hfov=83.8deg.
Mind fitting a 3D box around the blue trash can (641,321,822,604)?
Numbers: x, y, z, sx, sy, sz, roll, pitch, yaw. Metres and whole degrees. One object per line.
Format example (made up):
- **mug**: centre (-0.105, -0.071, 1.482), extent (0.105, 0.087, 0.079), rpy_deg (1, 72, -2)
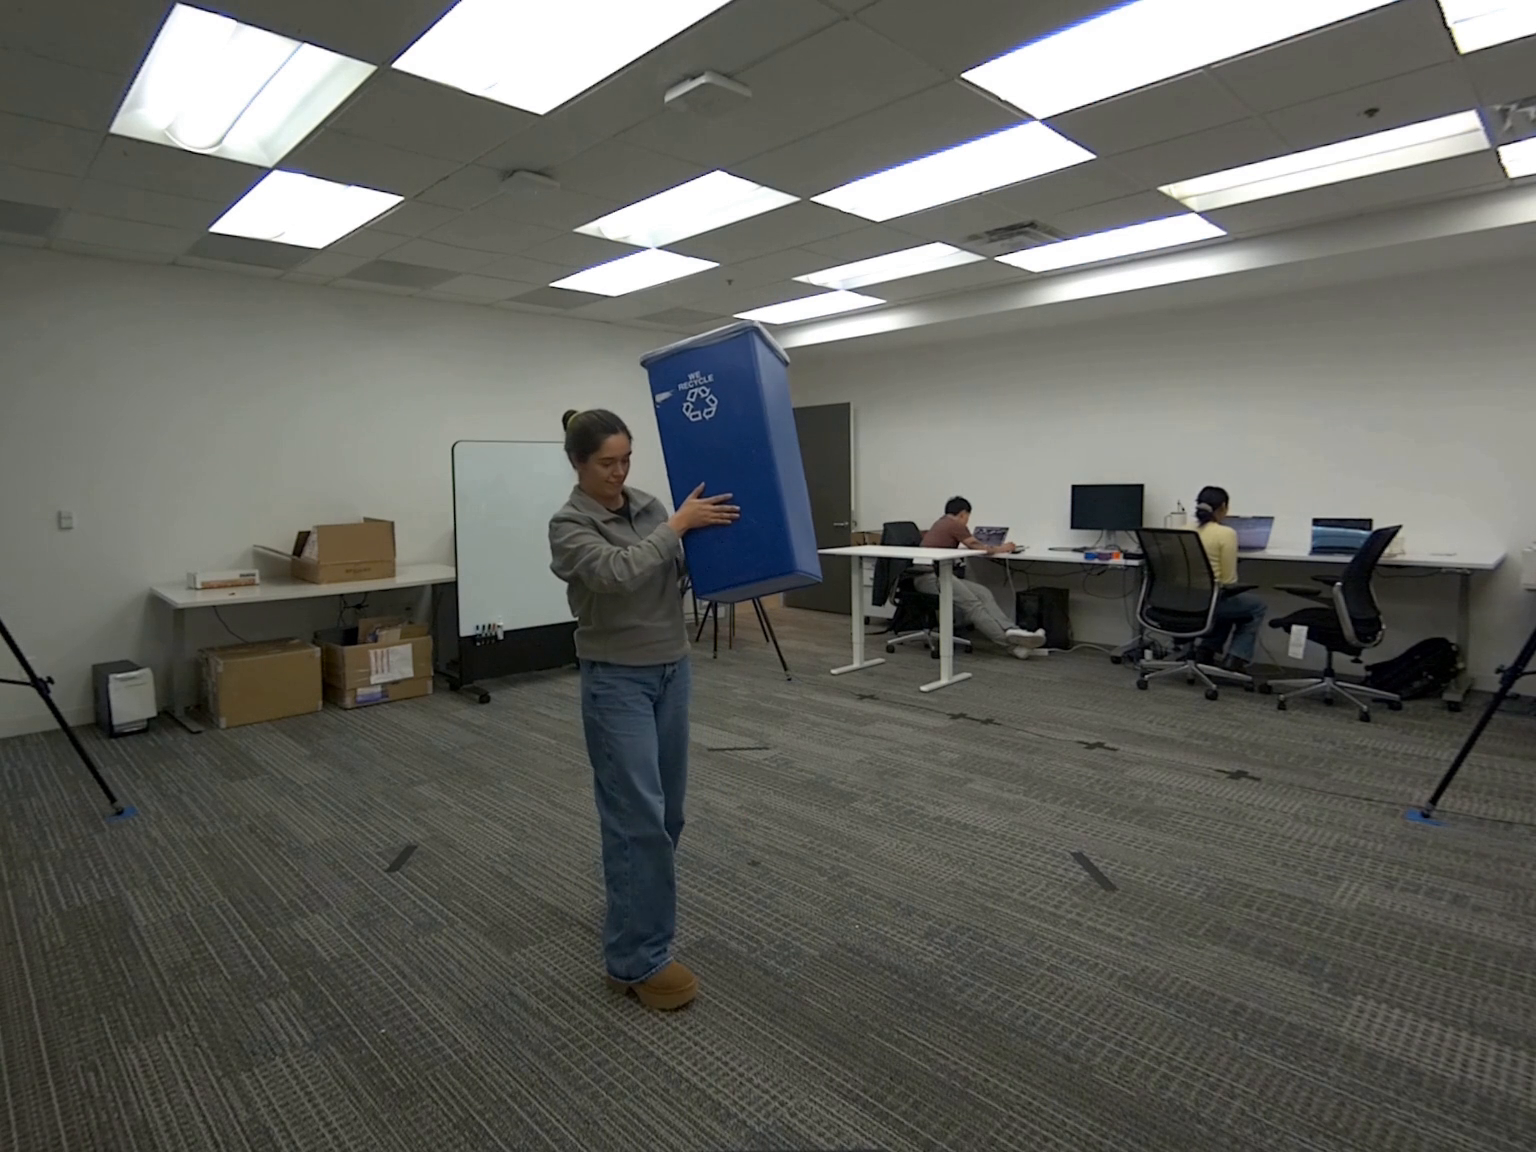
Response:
- **blue trash can**: centre (-0.083, -0.314, 2.490), extent (0.379, 0.723, 0.369), rpy_deg (-14, -12, 17)
